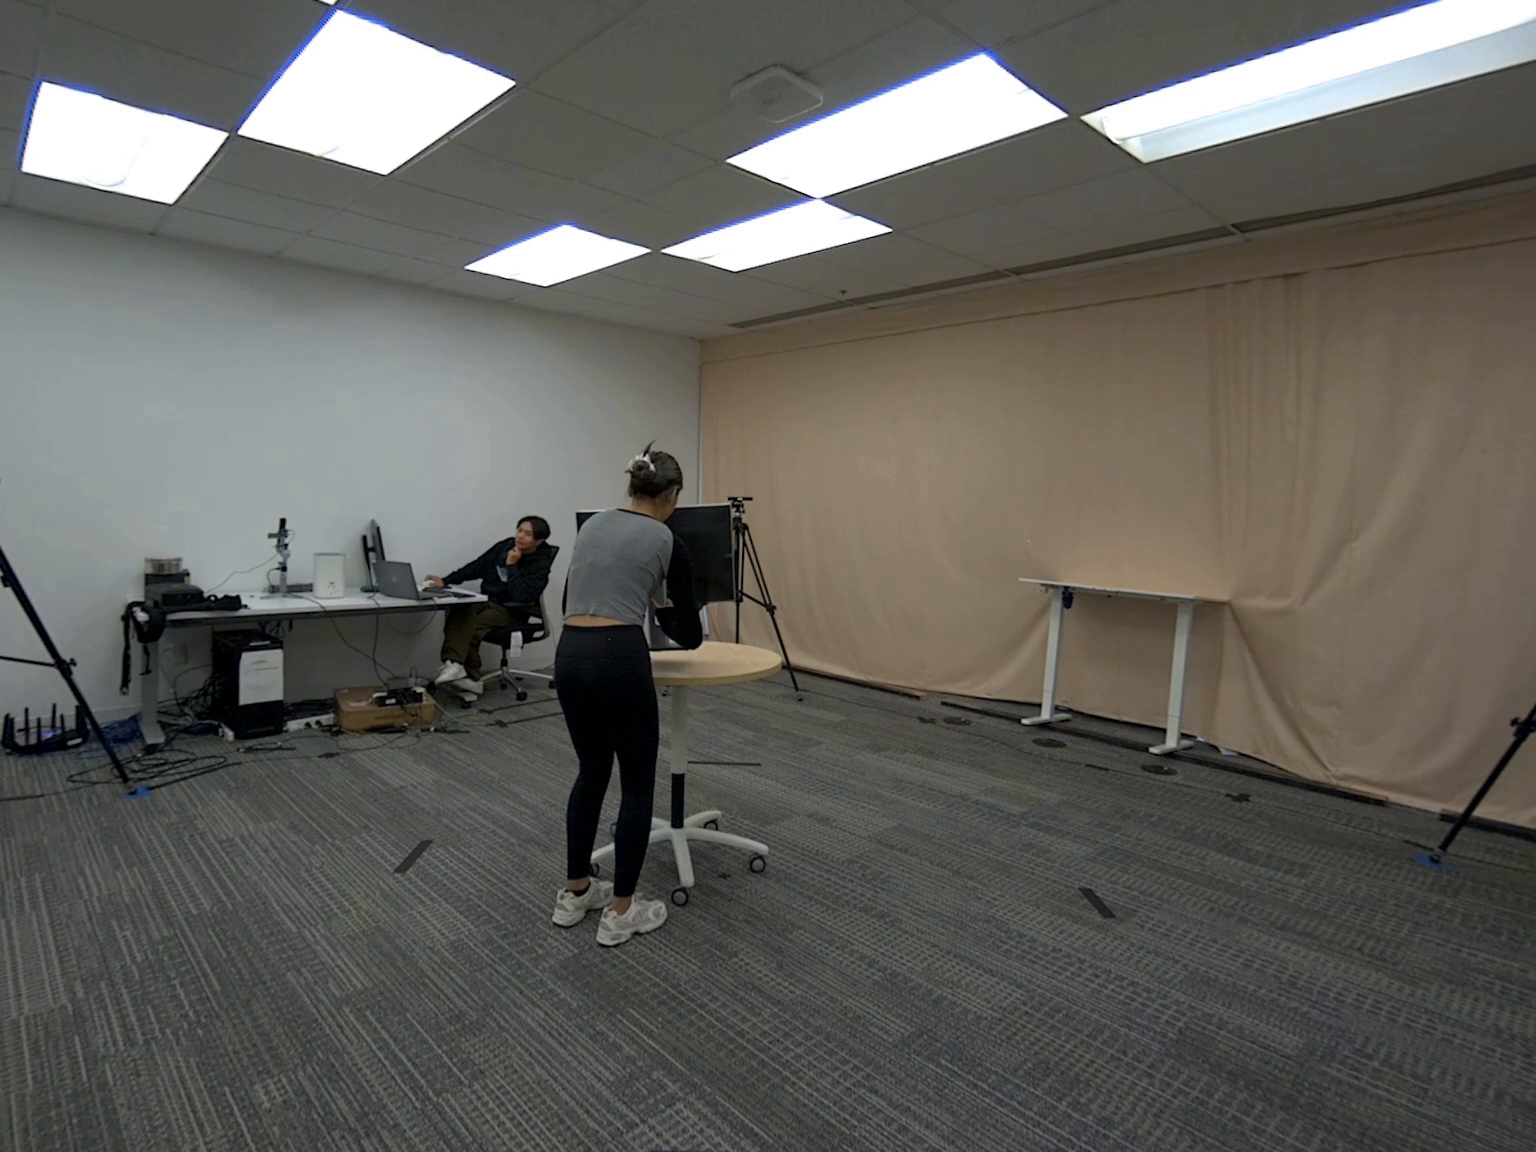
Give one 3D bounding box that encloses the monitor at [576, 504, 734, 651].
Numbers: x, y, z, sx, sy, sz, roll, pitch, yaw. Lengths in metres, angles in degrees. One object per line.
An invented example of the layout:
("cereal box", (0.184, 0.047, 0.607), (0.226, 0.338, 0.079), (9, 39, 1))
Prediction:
("monitor", (-0.394, 0.015, 2.998), (0.537, 0.524, 0.187), (-3, -3, -4))
